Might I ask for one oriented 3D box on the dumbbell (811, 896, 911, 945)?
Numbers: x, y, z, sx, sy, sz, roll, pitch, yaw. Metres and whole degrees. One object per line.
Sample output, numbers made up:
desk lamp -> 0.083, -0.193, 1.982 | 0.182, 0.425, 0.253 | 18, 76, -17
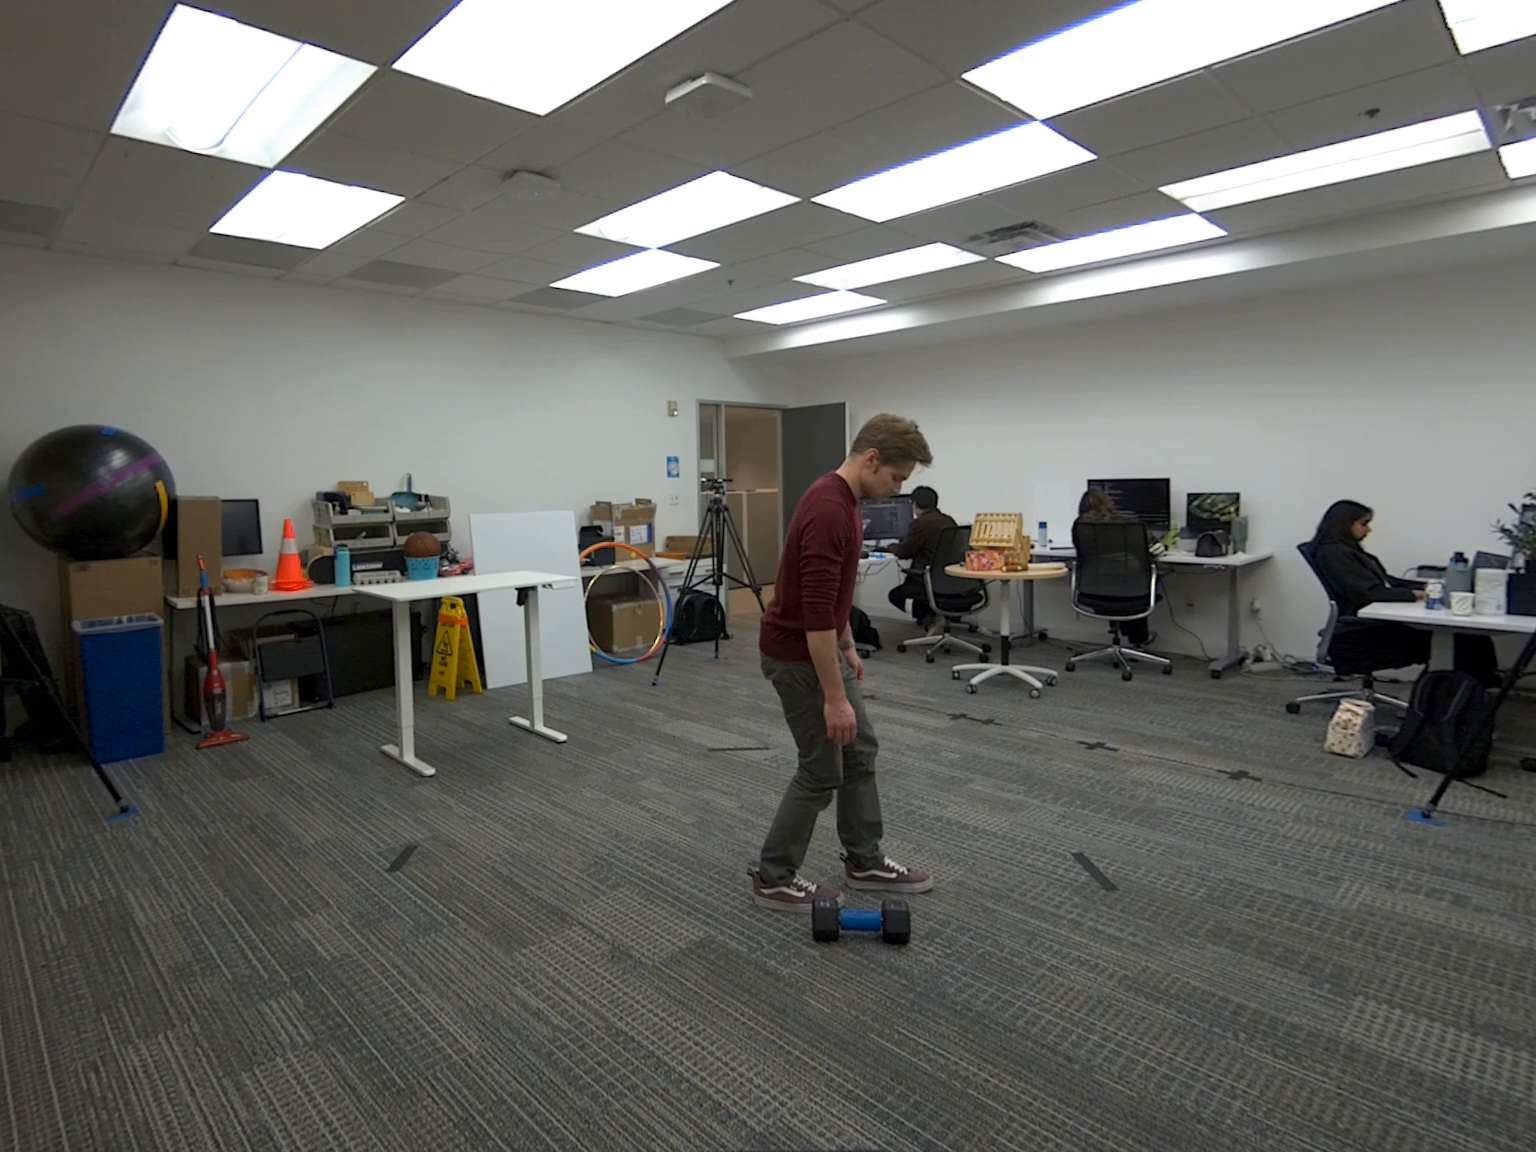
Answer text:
dumbbell -> 0.284, 1.048, 2.589 | 0.296, 0.125, 0.106 | 0, -26, 7
